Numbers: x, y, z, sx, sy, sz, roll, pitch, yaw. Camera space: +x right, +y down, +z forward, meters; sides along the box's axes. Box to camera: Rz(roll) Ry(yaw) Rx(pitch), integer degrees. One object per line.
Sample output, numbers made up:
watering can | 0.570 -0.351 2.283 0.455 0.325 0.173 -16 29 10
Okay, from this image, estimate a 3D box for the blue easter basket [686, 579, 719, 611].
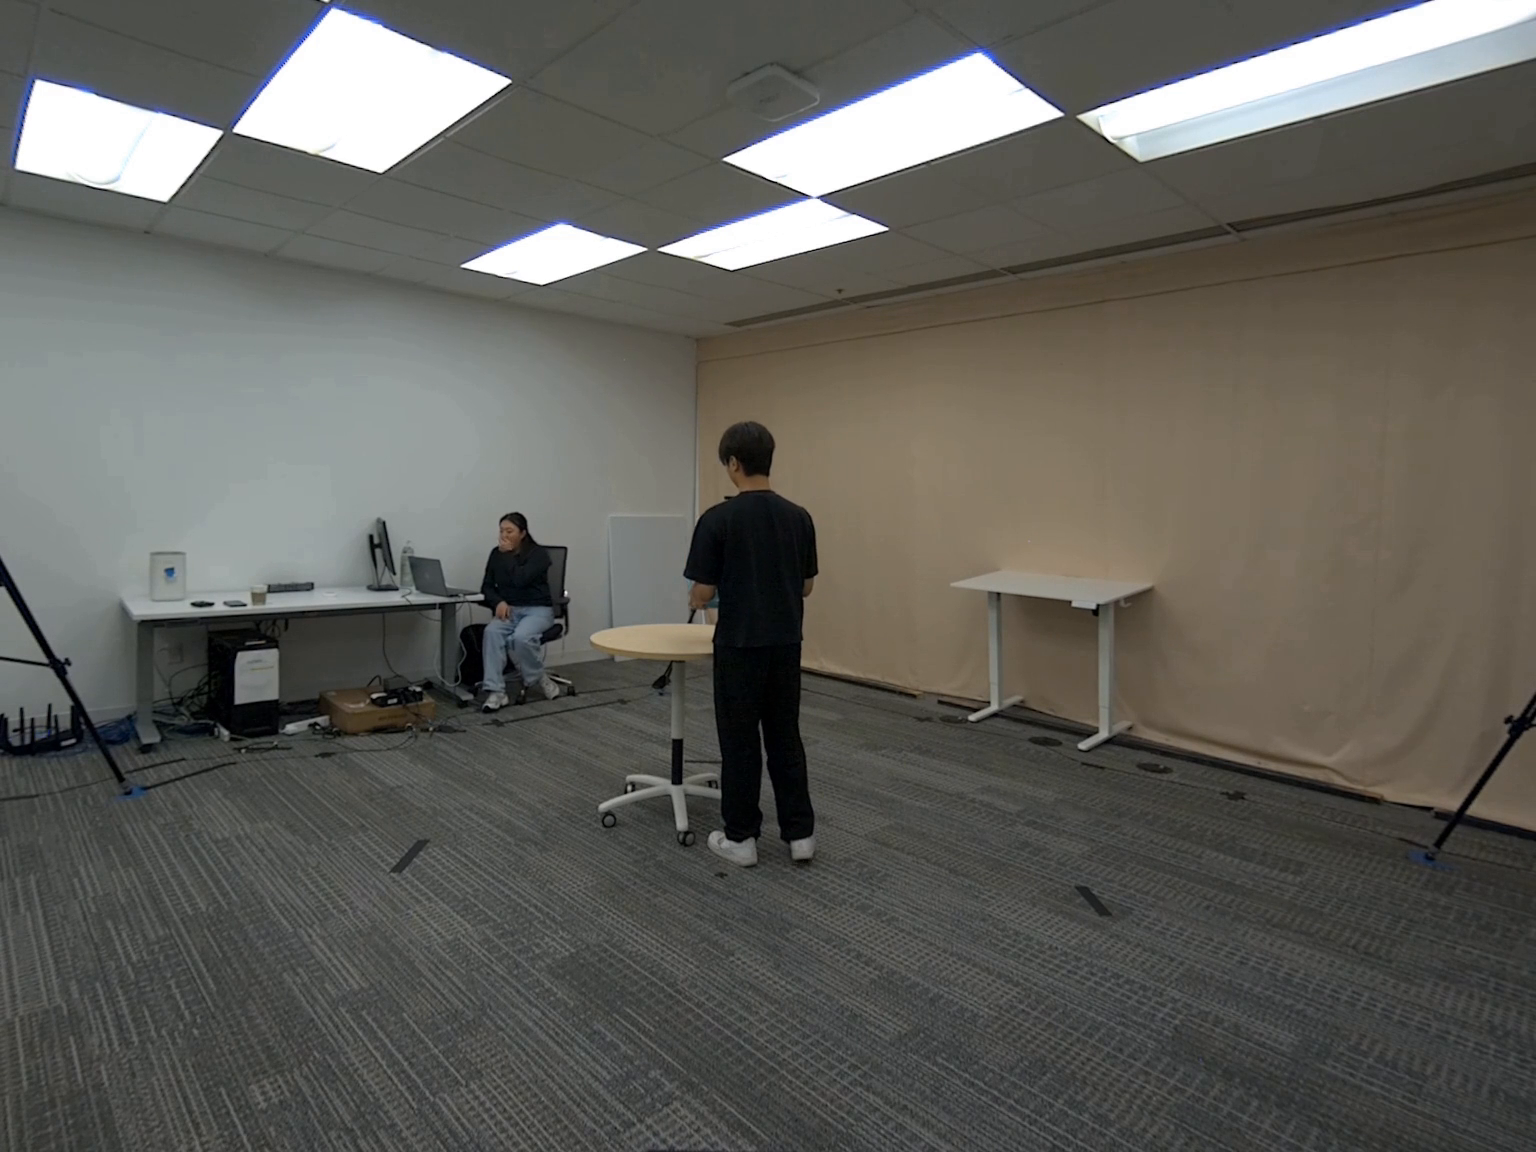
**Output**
blue easter basket | -0.228 0.056 3.544 0.243 0.156 0.244 2 2 -1
